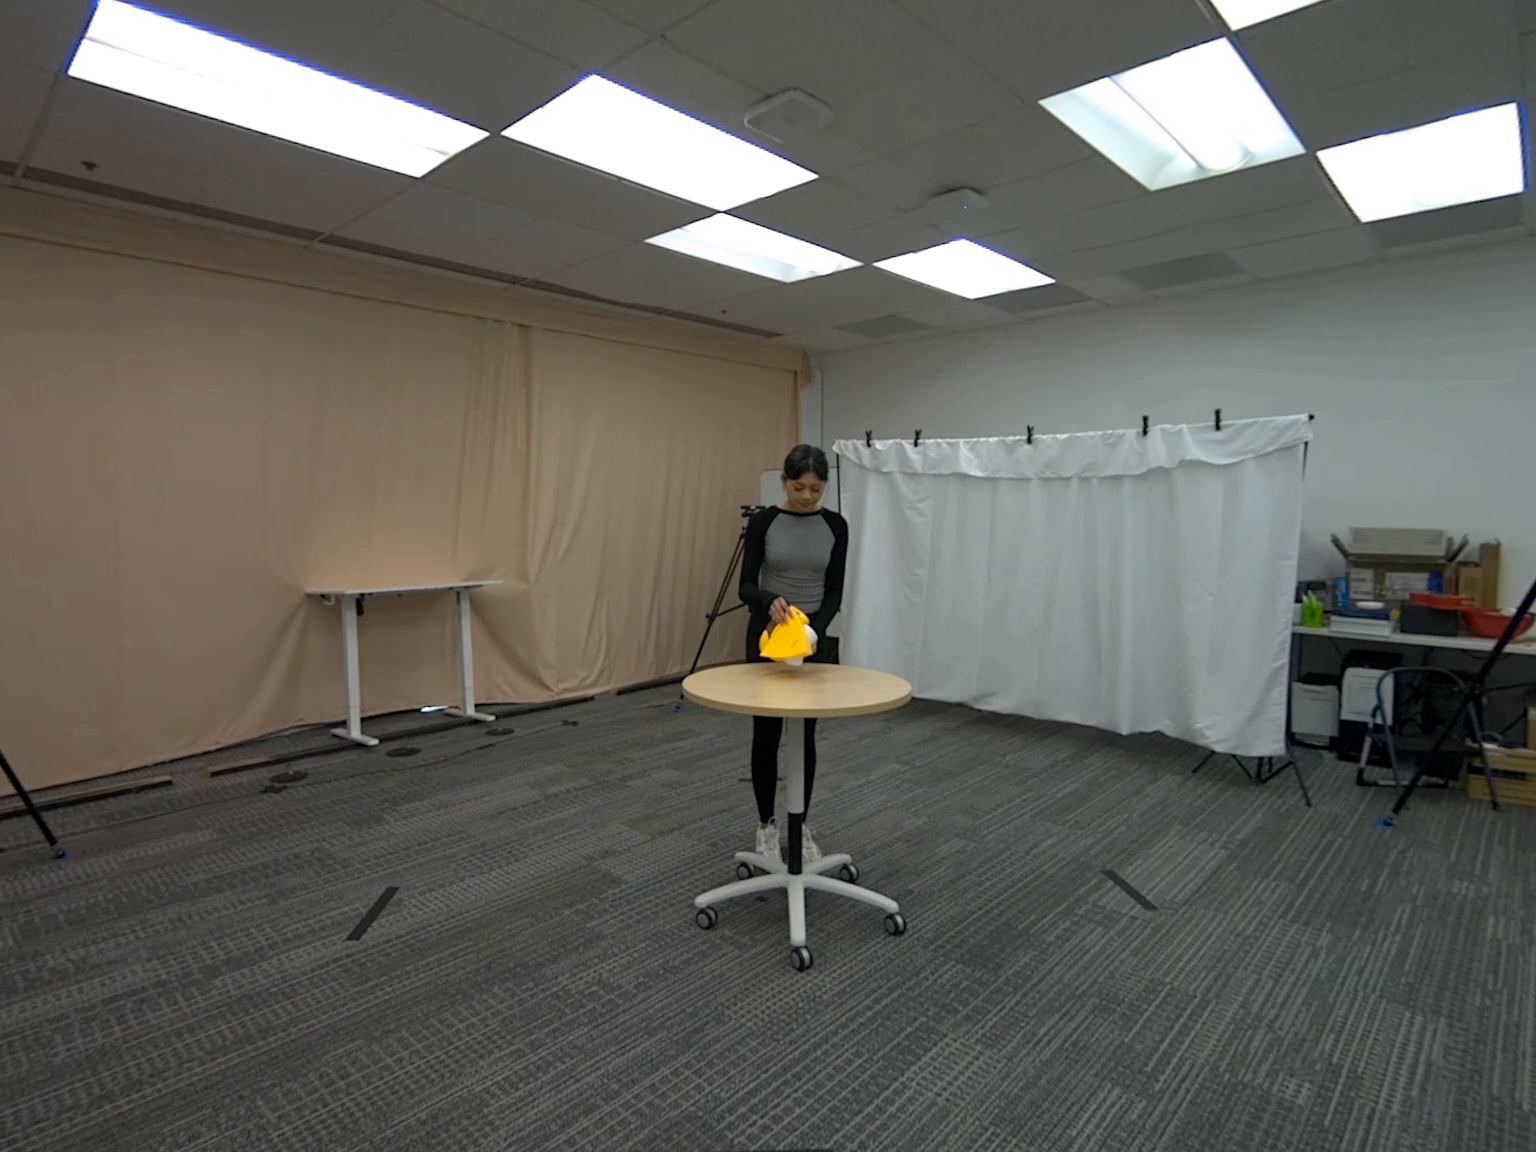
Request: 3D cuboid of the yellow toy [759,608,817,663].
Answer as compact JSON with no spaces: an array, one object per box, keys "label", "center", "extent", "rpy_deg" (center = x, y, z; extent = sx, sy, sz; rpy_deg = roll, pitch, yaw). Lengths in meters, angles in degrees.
[{"label":"yellow toy","center":[0.100,0.241,2.948],"extent":[0.186,0.205,0.239],"rpy_deg":[31,1,-35]}]
